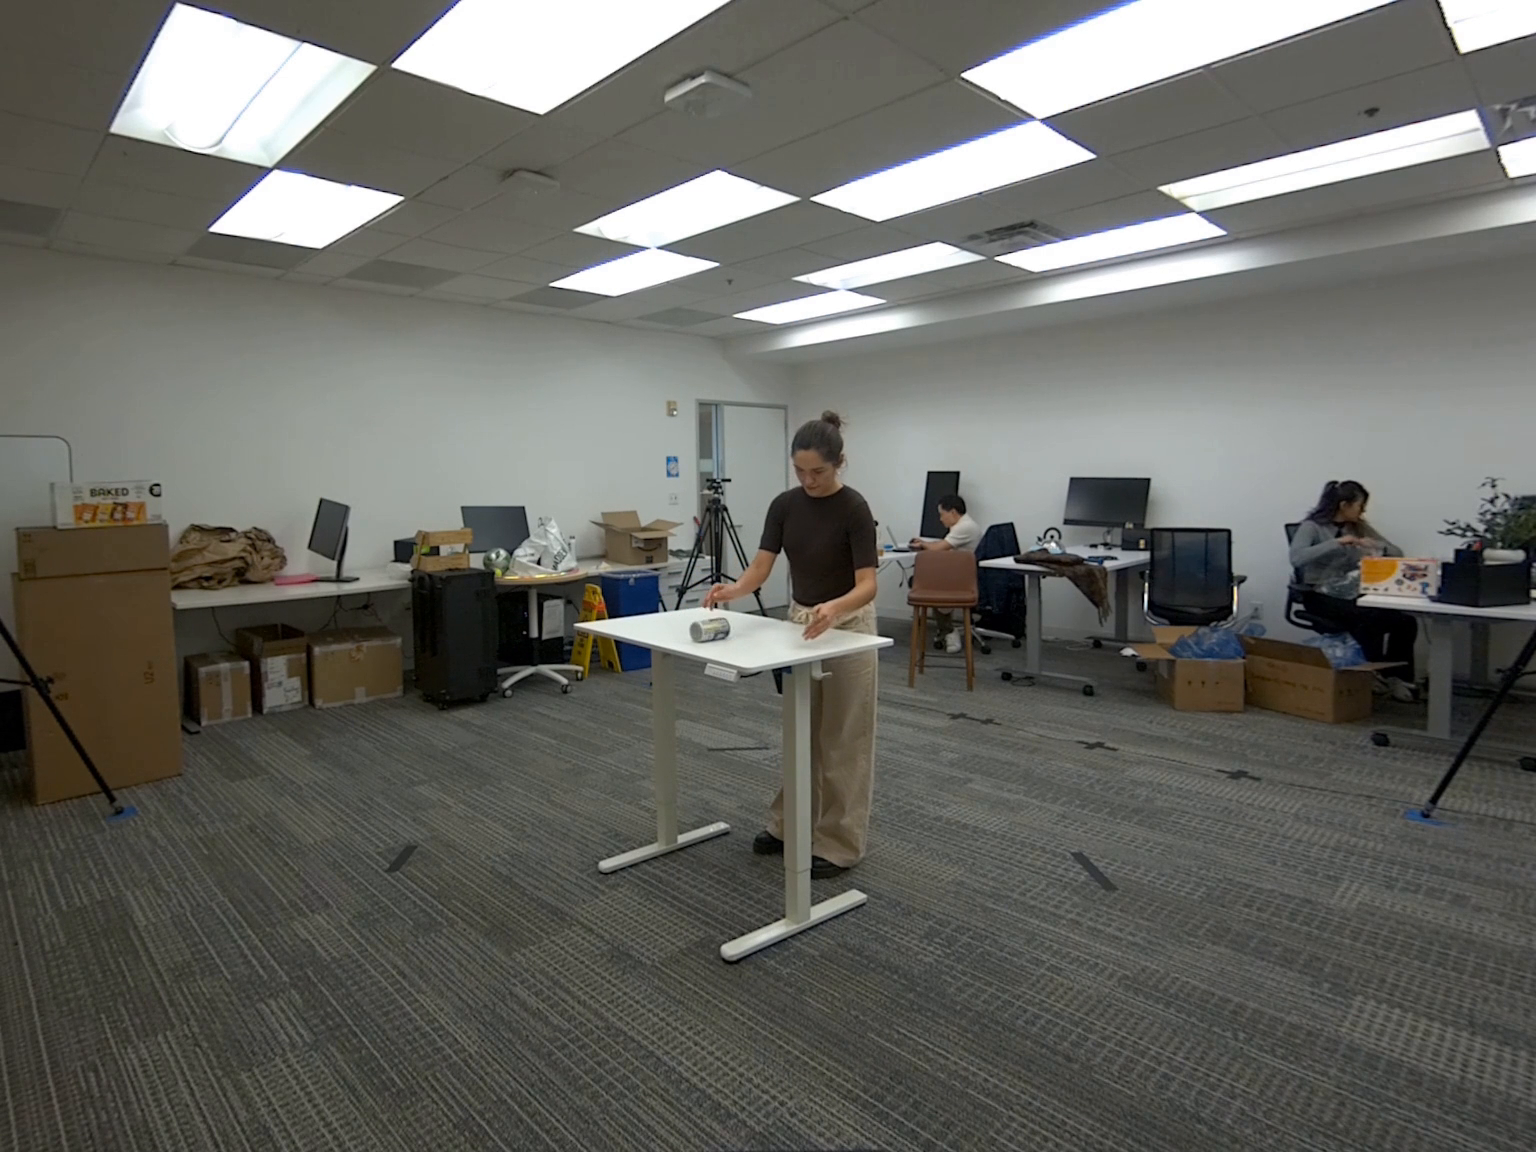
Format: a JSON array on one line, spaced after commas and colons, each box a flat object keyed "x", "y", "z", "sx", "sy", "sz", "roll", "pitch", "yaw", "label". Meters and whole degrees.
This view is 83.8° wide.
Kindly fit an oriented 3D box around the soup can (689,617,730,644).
[{"x": -0.178, "y": 0.170, "z": 2.728, "sx": 0.118, "sy": 0.067, "sz": 0.069, "roll": -6, "pitch": 7, "yaw": -34, "label": "soup can"}]
